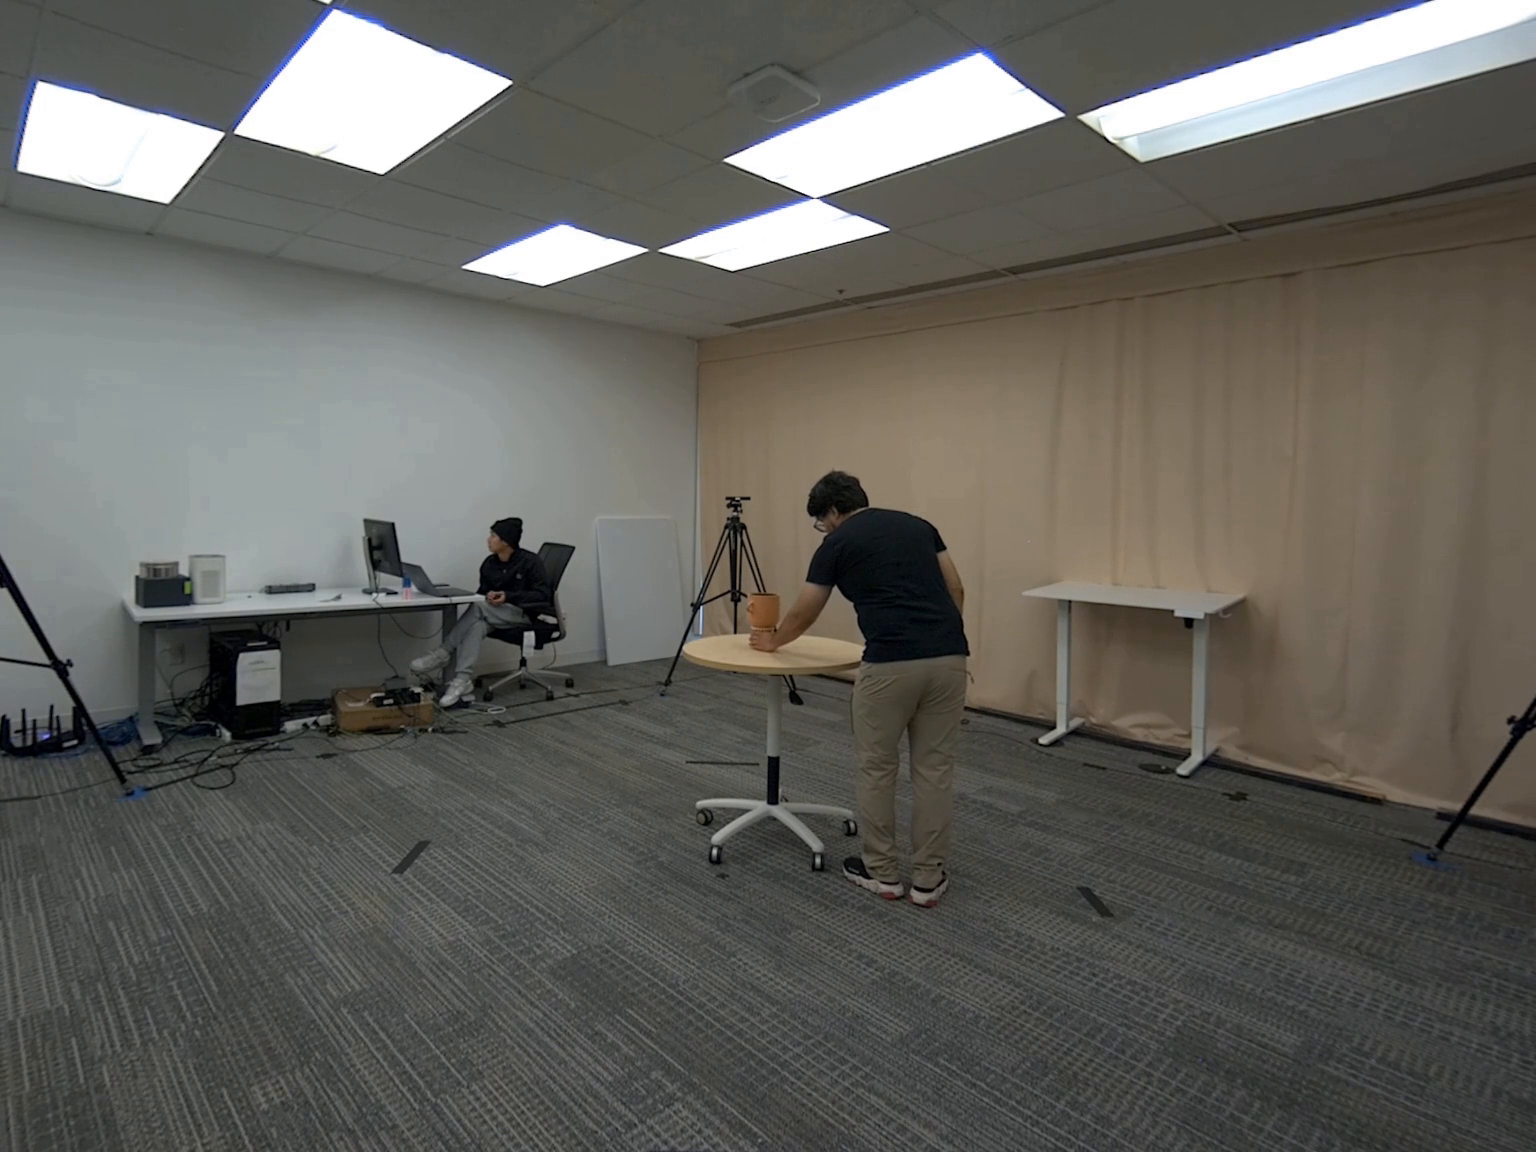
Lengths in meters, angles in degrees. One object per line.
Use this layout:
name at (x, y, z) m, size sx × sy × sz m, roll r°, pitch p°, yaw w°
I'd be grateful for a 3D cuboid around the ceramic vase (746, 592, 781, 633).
ceramic vase at (-0.023, 0.186, 3.460) m, size 0.158 × 0.219 × 0.136 m, roll 1°, pitch 3°, yaw -8°
